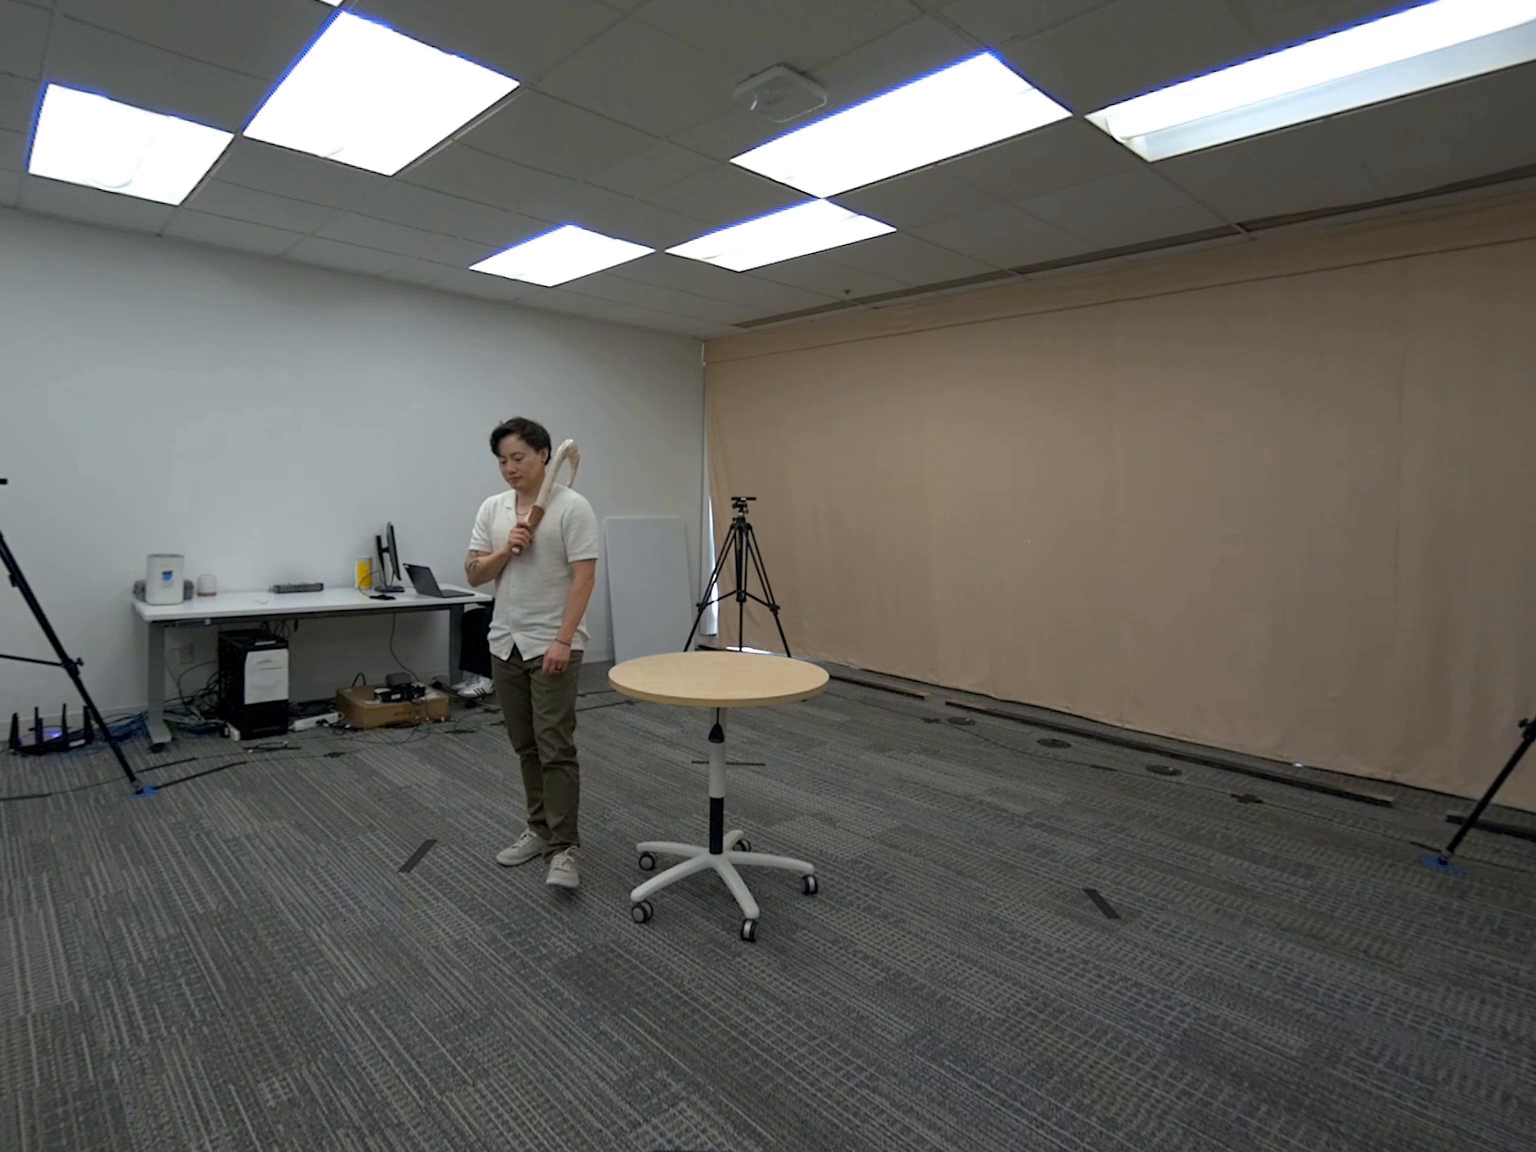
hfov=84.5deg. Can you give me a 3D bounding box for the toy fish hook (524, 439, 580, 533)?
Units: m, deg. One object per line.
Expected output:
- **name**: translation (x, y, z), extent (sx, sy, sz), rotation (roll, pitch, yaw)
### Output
- **toy fish hook**: translation (-0.830, -0.279, 3.137), extent (0.049, 0.511, 0.219), rotation (14, -23, 13)
